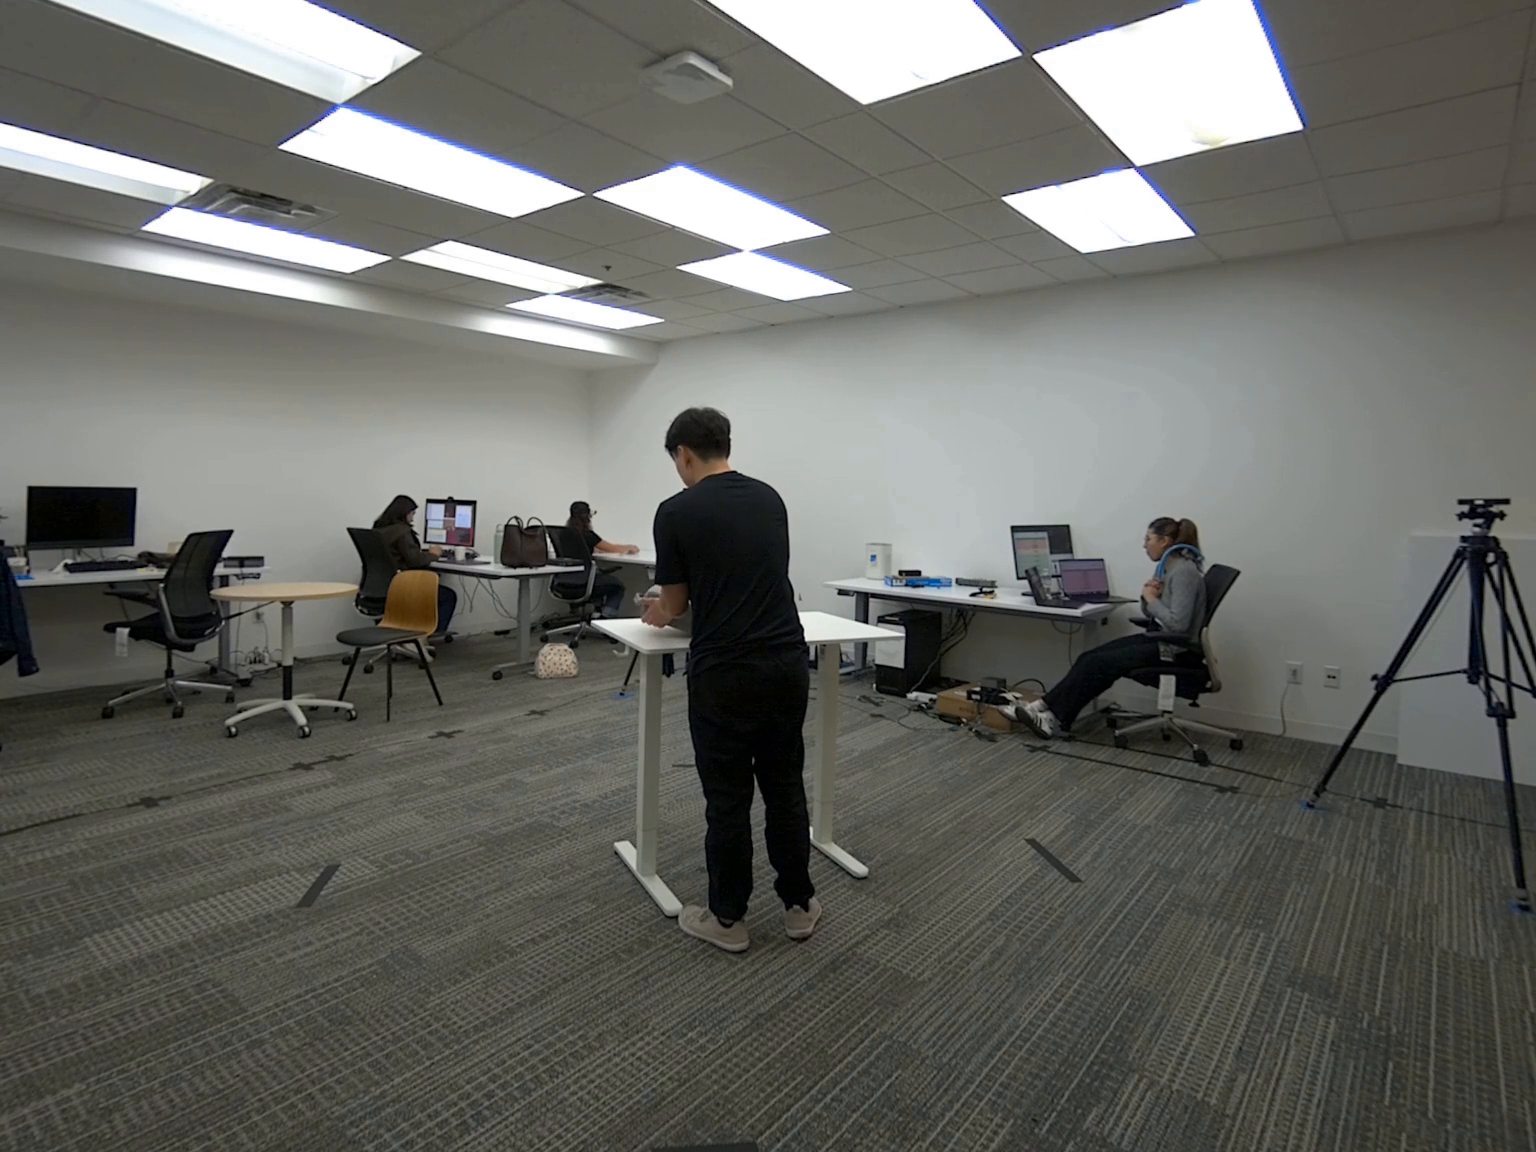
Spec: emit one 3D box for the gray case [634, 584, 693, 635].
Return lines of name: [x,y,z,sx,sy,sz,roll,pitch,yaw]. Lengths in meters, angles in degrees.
gray case: [-0.315,0.120,2.975,0.261,0.104,0.257,14,6,0]
